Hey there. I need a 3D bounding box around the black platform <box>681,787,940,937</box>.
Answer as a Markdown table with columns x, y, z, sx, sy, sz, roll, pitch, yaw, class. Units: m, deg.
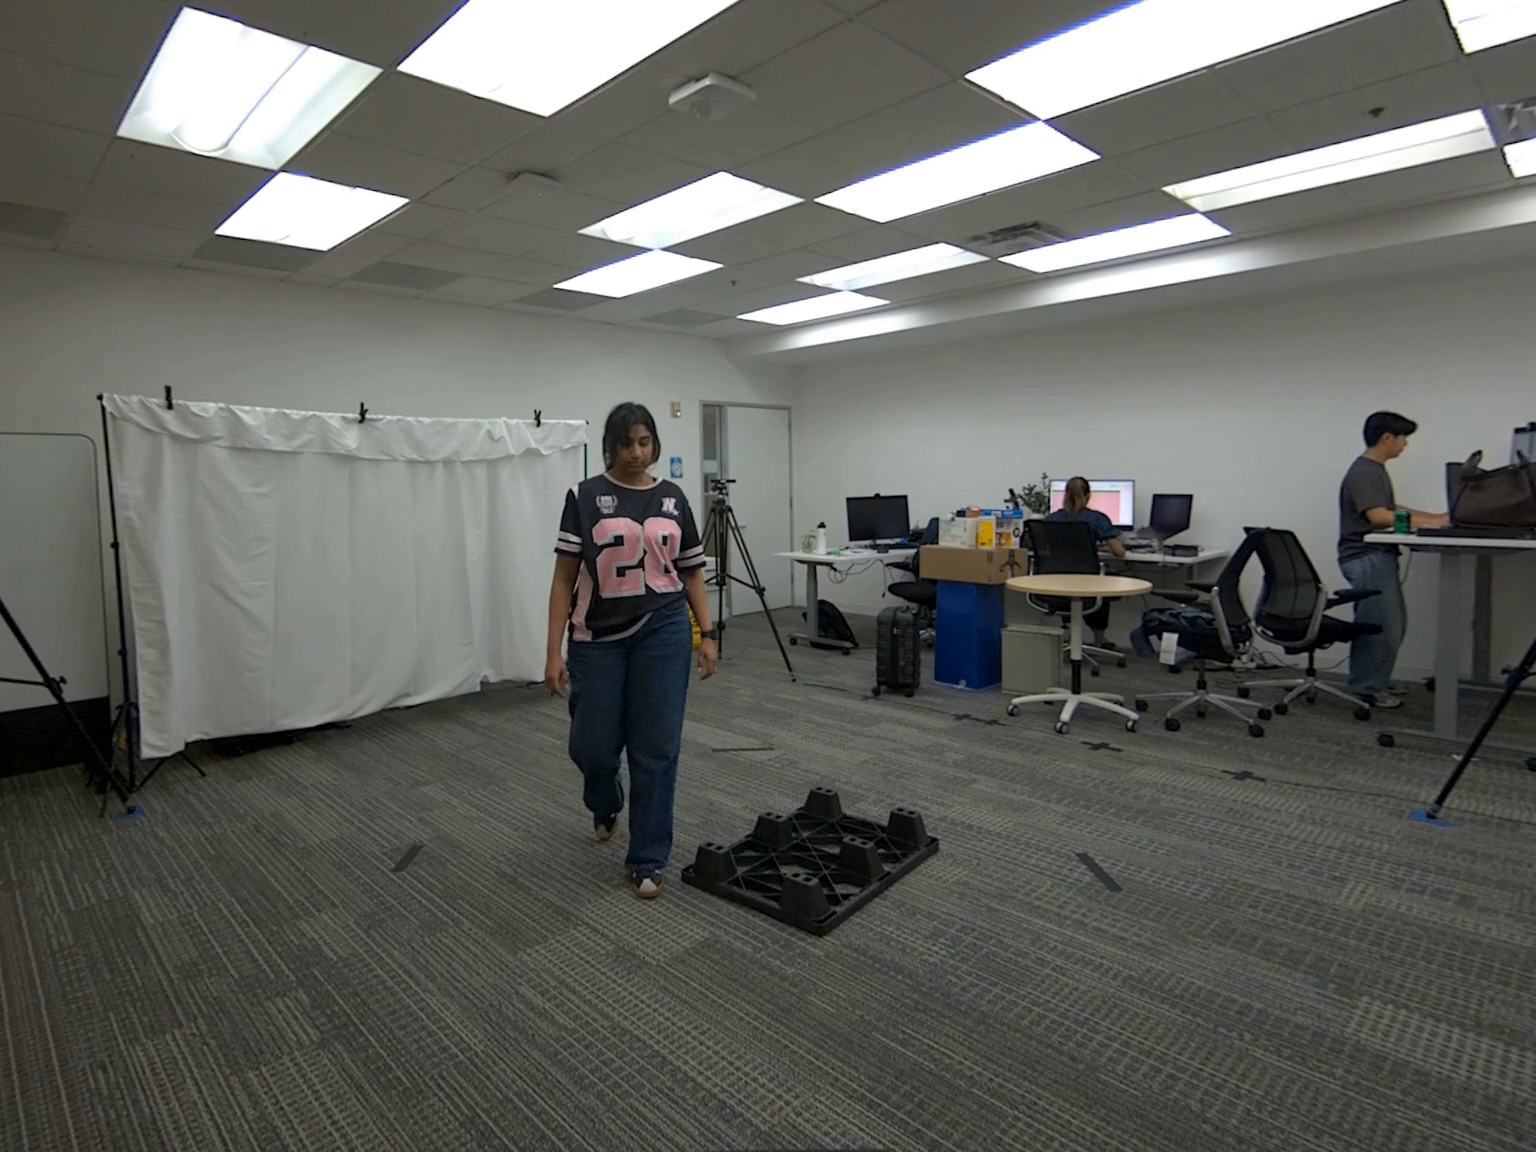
| x | y | z | sx | sy | sz | roll | pitch | yaw | class |
| --- | --- | --- | --- | --- | --- | --- | --- | --- | --- |
| 0.171 | 0.980 | 3.082 | 0.623 | 0.143 | 0.785 | 3 | 8 | 39 | black platform |
